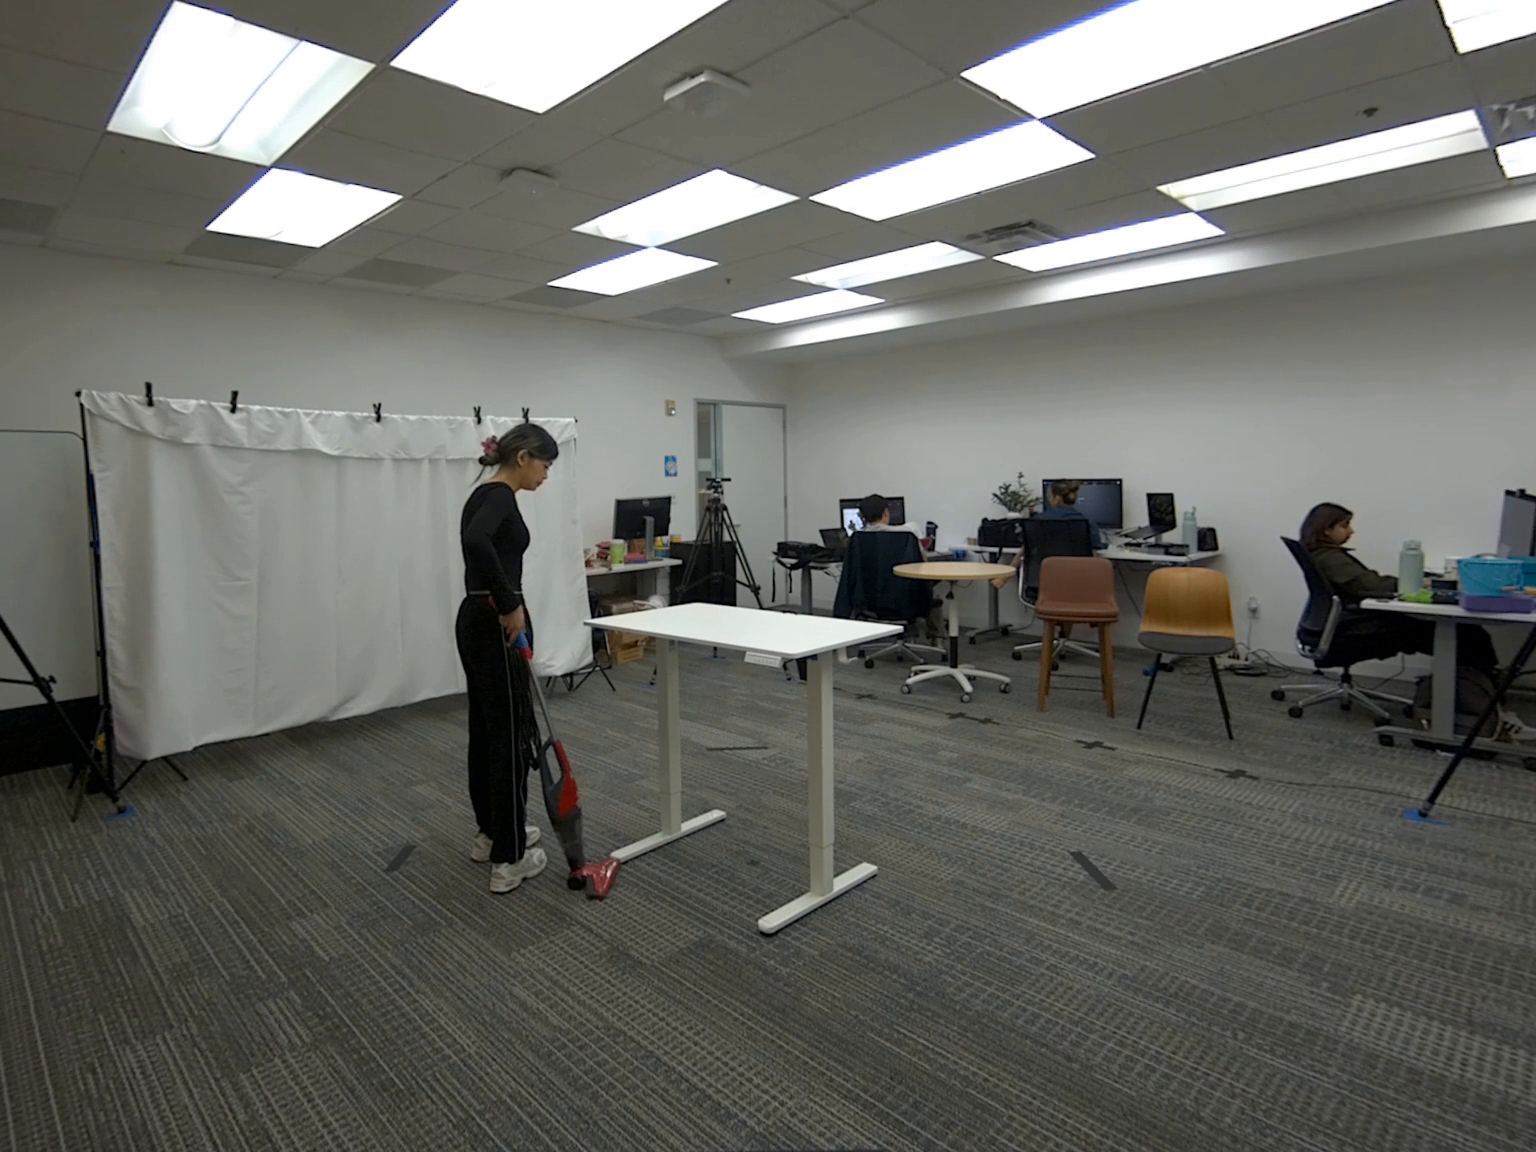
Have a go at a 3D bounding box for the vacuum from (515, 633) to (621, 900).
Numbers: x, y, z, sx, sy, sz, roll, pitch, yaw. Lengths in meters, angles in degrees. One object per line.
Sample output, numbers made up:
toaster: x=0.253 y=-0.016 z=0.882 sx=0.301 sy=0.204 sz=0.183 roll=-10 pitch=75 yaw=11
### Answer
vacuum: x=-0.773 y=0.569 z=2.938 sx=0.145 sy=1.044 sz=0.252 roll=-18 pitch=5 yaw=9
